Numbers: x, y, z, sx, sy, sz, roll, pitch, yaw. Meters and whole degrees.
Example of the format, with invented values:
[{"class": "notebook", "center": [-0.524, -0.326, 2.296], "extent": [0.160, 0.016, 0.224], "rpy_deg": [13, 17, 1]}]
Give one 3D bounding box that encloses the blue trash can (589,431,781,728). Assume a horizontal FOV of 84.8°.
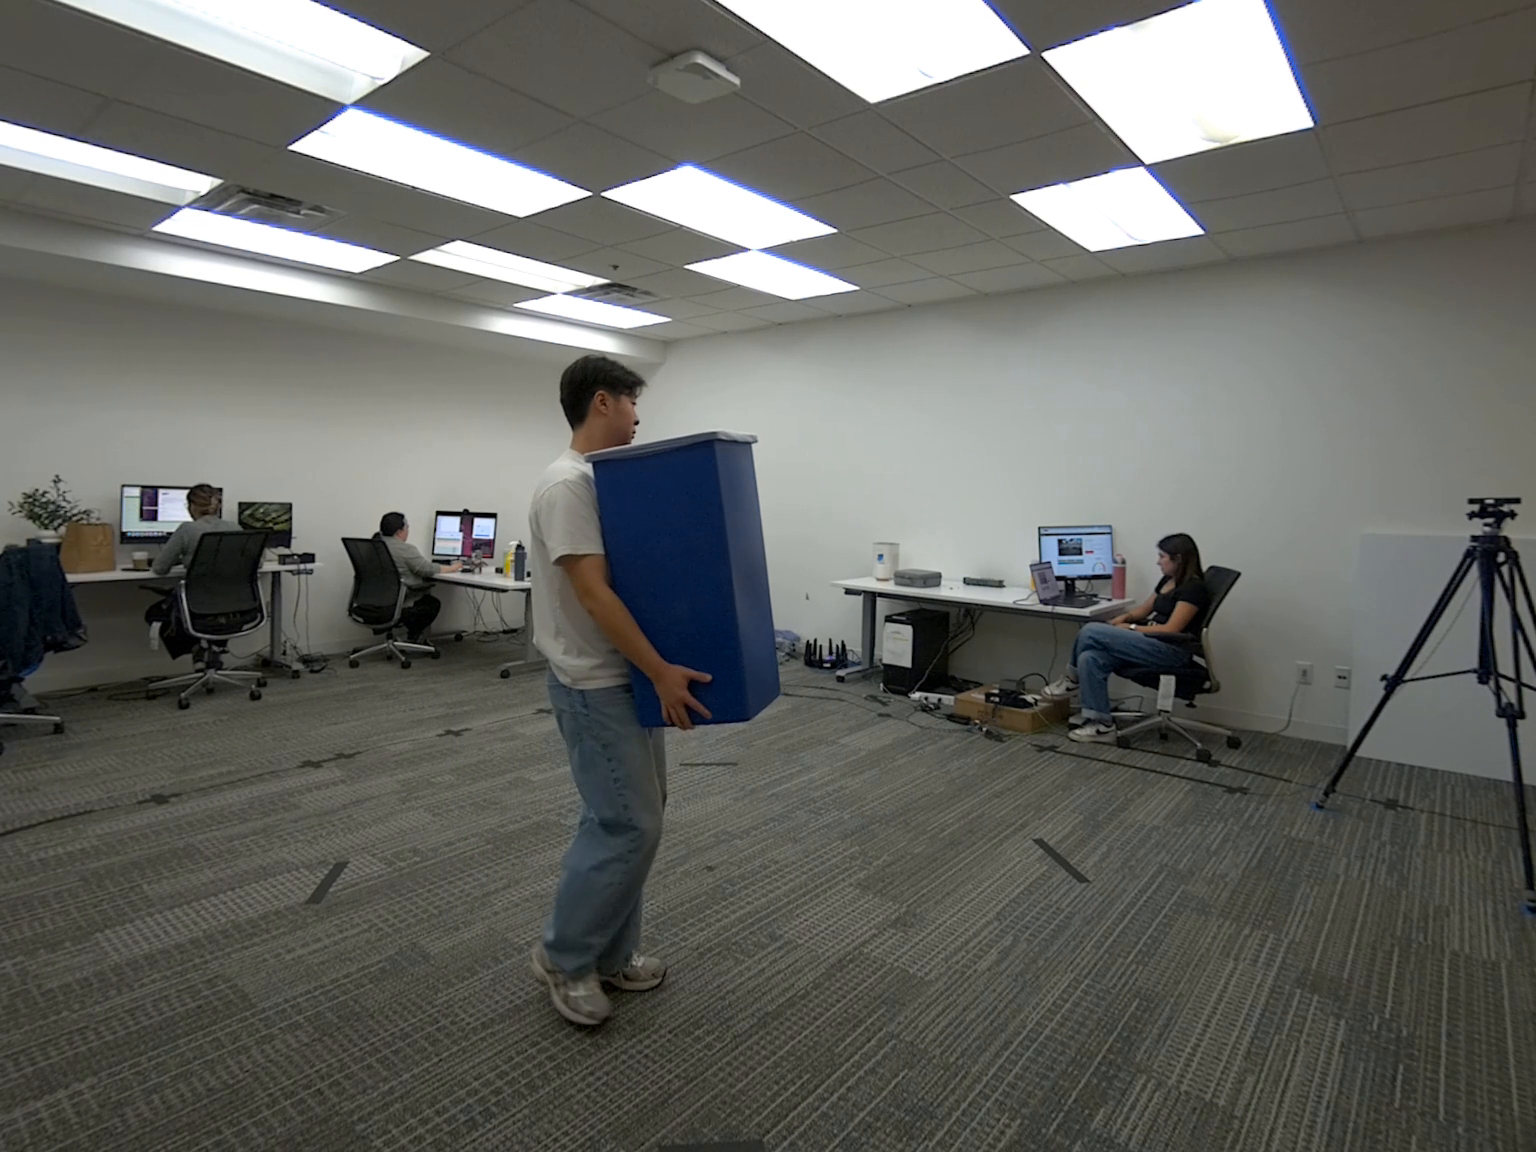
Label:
[{"class": "blue trash can", "center": [-0.203, 0.001, 2.236], "extent": [0.385, 0.714, 0.368], "rpy_deg": [-8, 0, 19]}]
